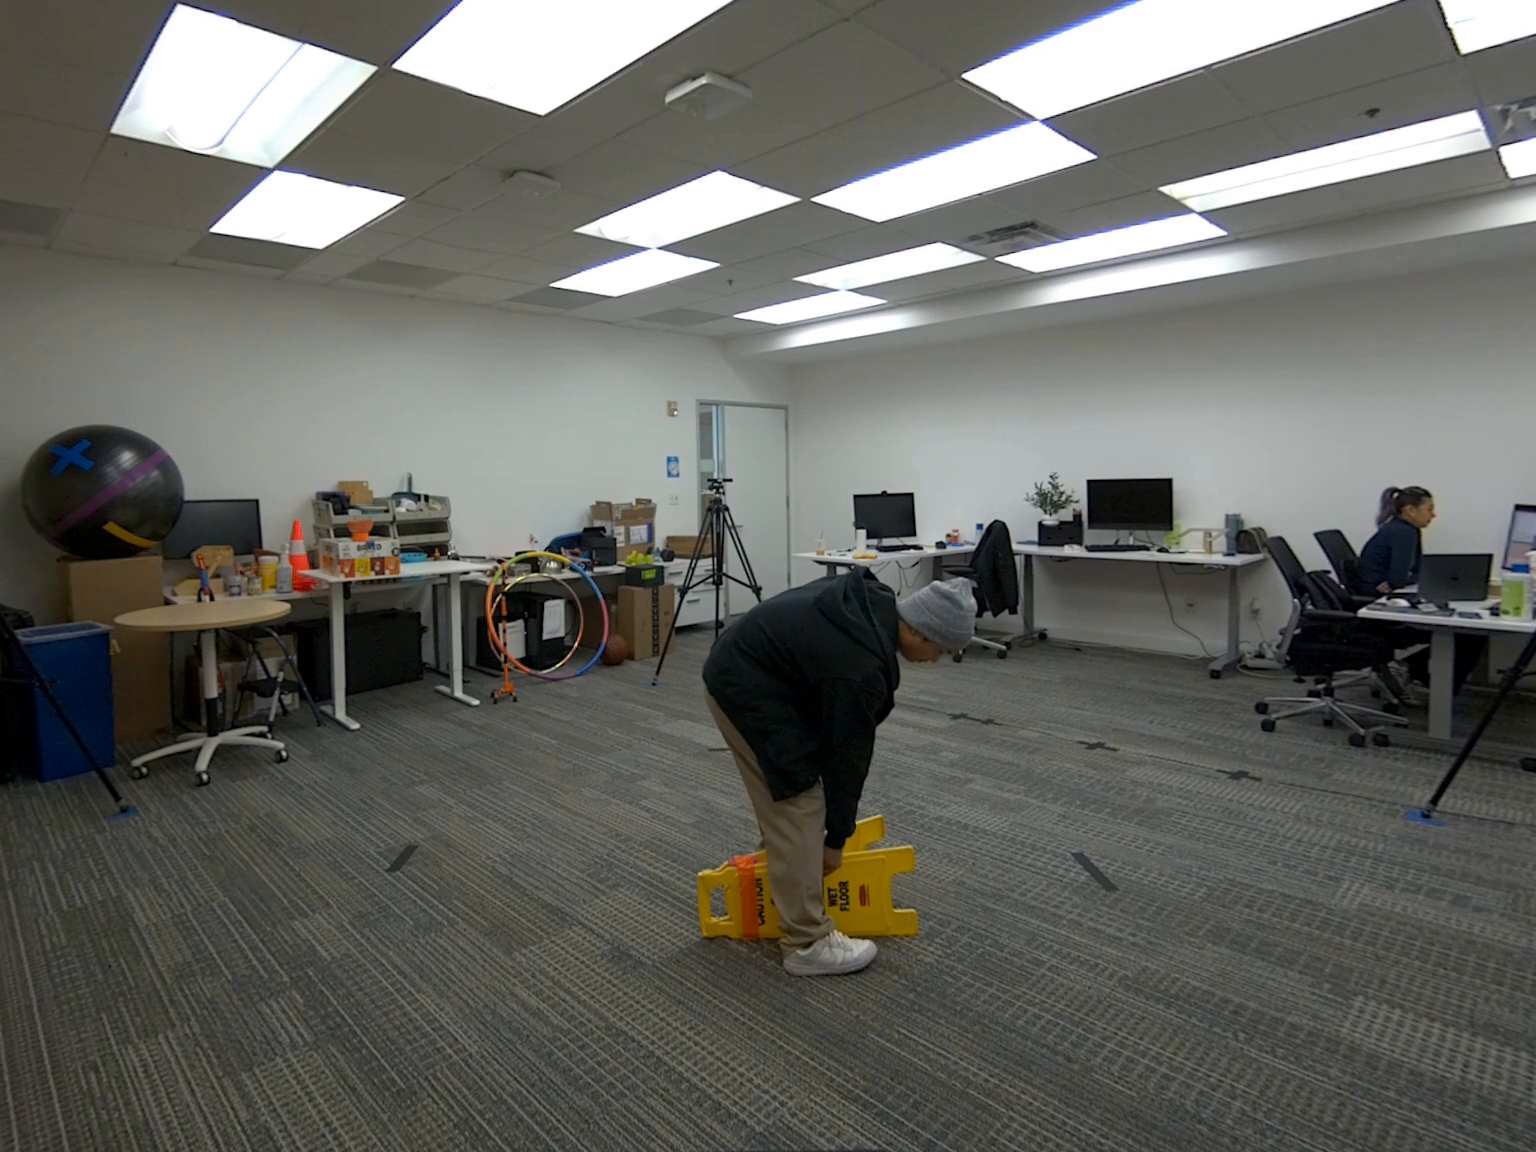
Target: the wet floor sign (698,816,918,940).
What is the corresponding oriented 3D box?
[{"bbox_3d":[0.113,0.969,2.644,0.640,0.281,0.294,-5,6,-11],"label":"wet floor sign"}]
